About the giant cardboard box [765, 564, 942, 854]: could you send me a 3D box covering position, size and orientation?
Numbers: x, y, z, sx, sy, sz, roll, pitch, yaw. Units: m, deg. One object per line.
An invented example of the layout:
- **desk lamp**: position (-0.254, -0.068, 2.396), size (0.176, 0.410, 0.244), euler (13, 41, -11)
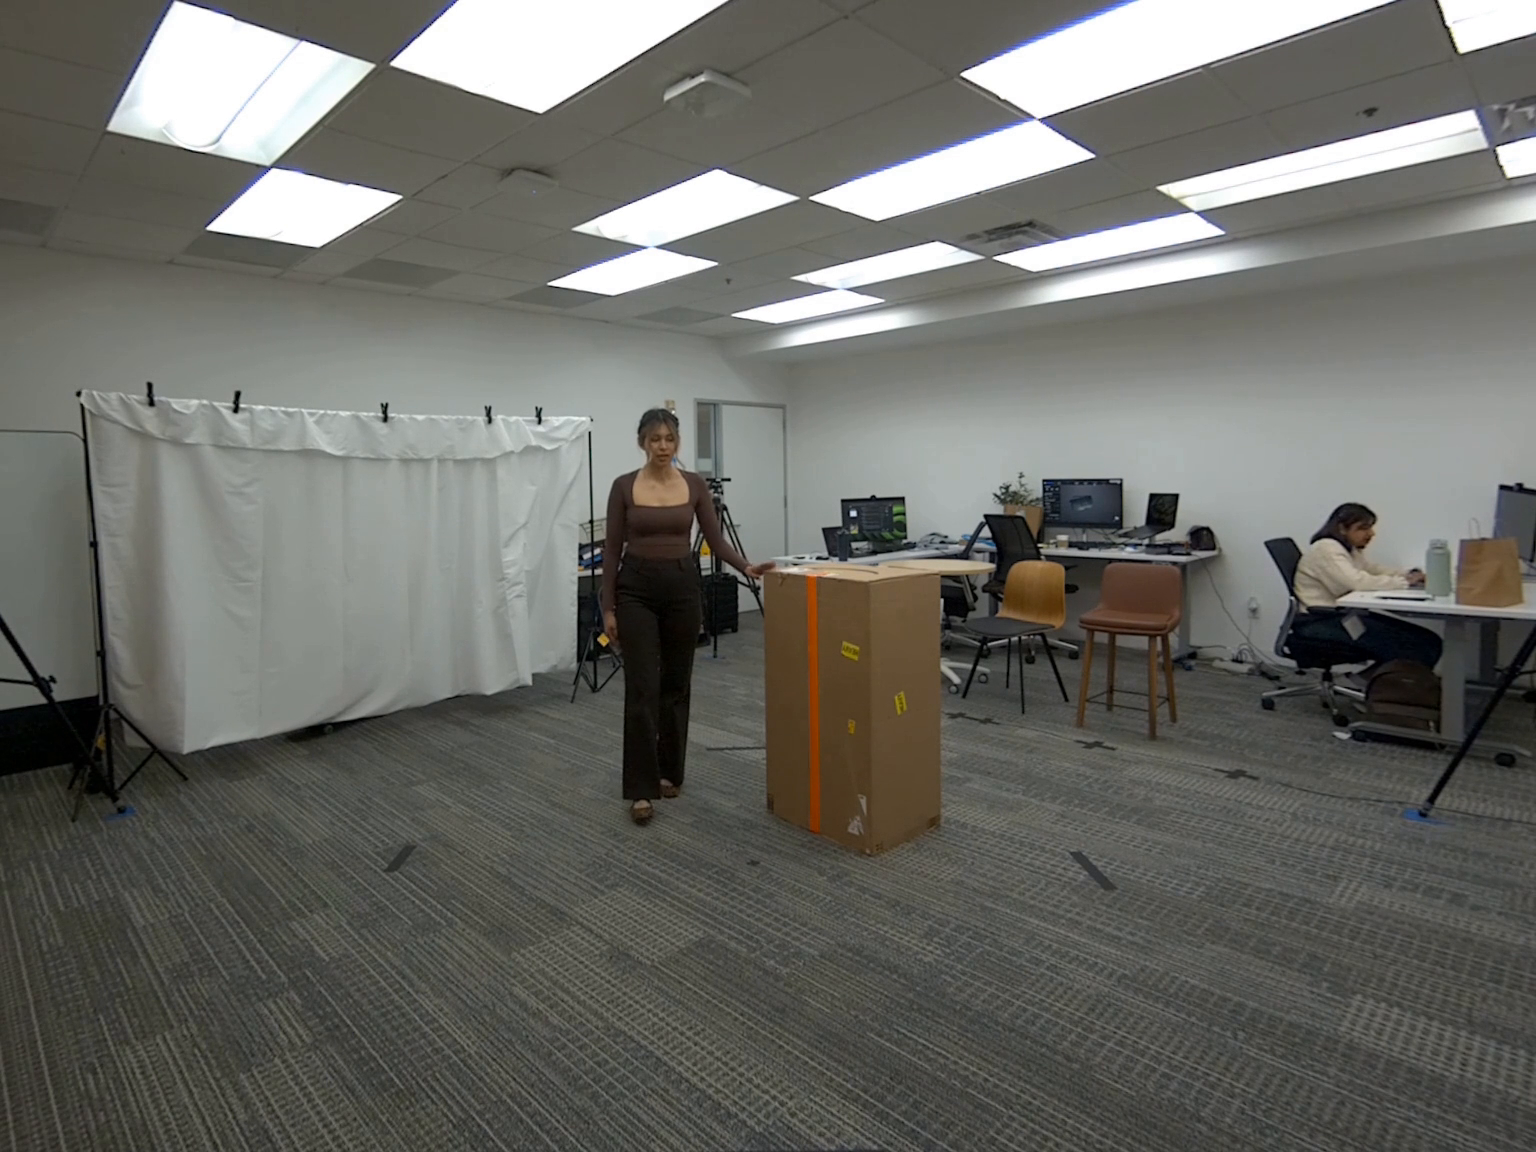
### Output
- **giant cardboard box**: position (0.335, 0.485, 3.456), size (0.435, 1.023, 0.602), euler (-5, 6, -39)
